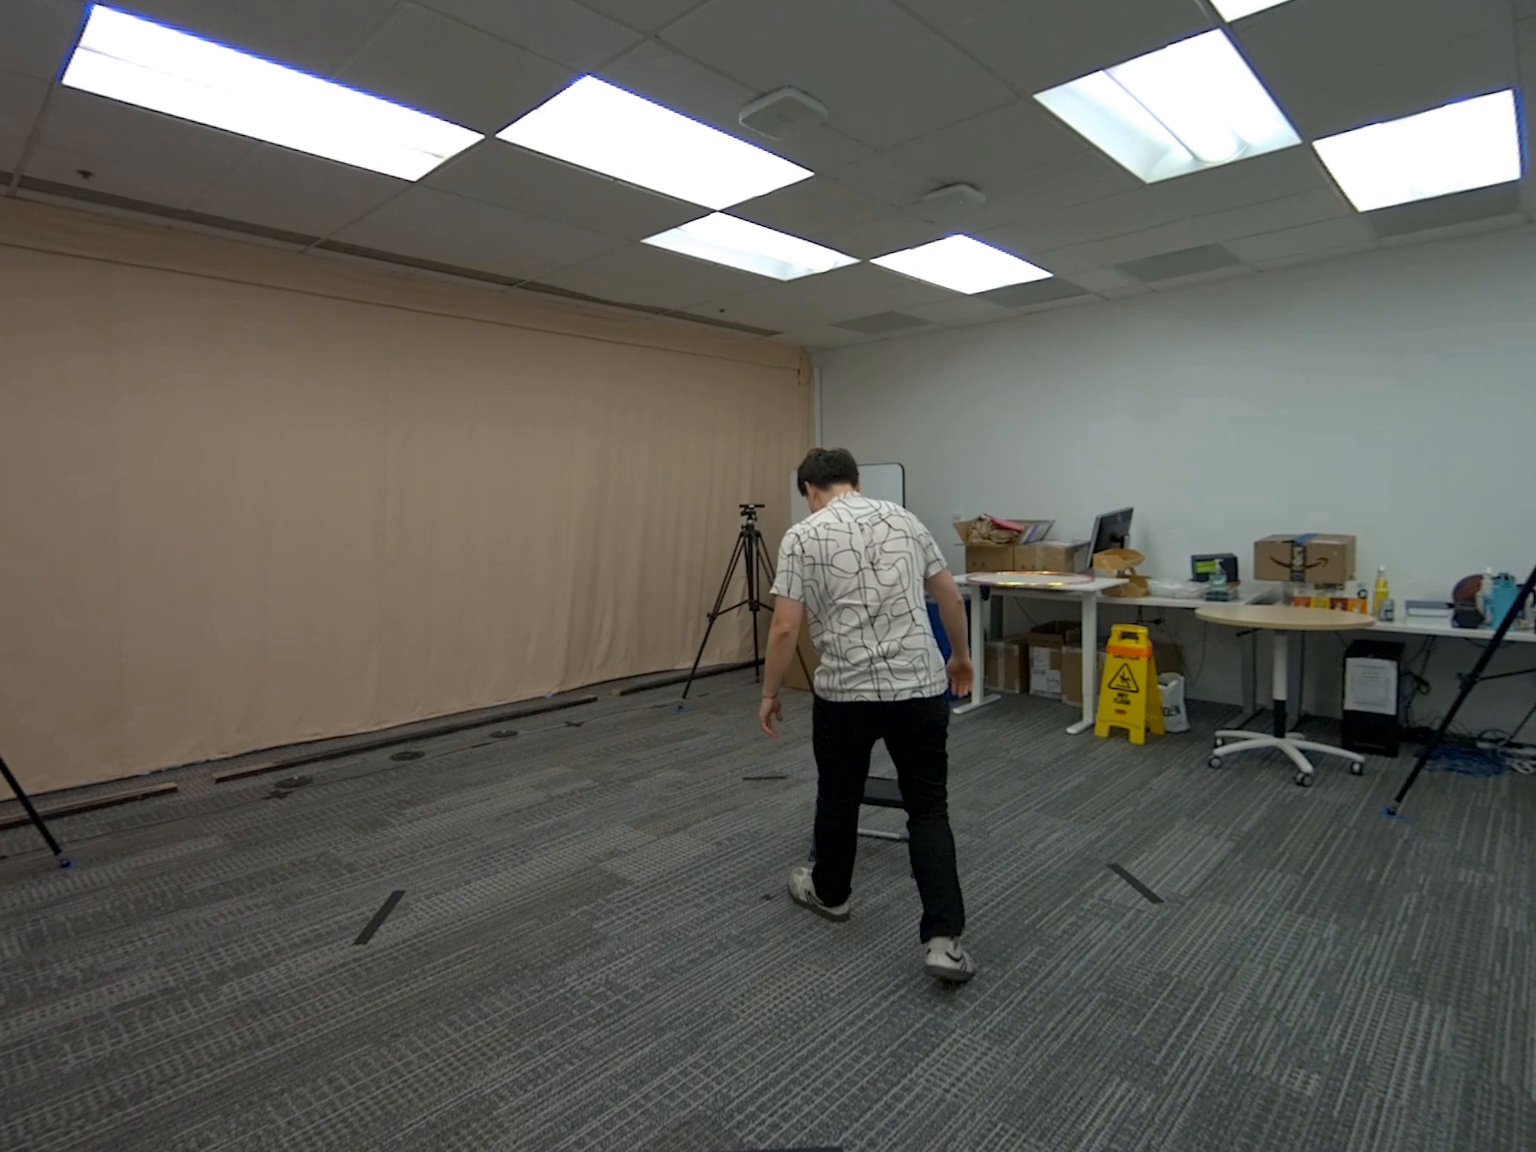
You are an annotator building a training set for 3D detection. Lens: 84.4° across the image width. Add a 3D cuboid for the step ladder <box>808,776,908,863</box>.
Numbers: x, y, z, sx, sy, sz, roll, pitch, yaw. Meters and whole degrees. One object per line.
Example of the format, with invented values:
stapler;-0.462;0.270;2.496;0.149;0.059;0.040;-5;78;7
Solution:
step ladder;0.419;0.796;3.338;0.440;0.605;0.342;1;3;22
